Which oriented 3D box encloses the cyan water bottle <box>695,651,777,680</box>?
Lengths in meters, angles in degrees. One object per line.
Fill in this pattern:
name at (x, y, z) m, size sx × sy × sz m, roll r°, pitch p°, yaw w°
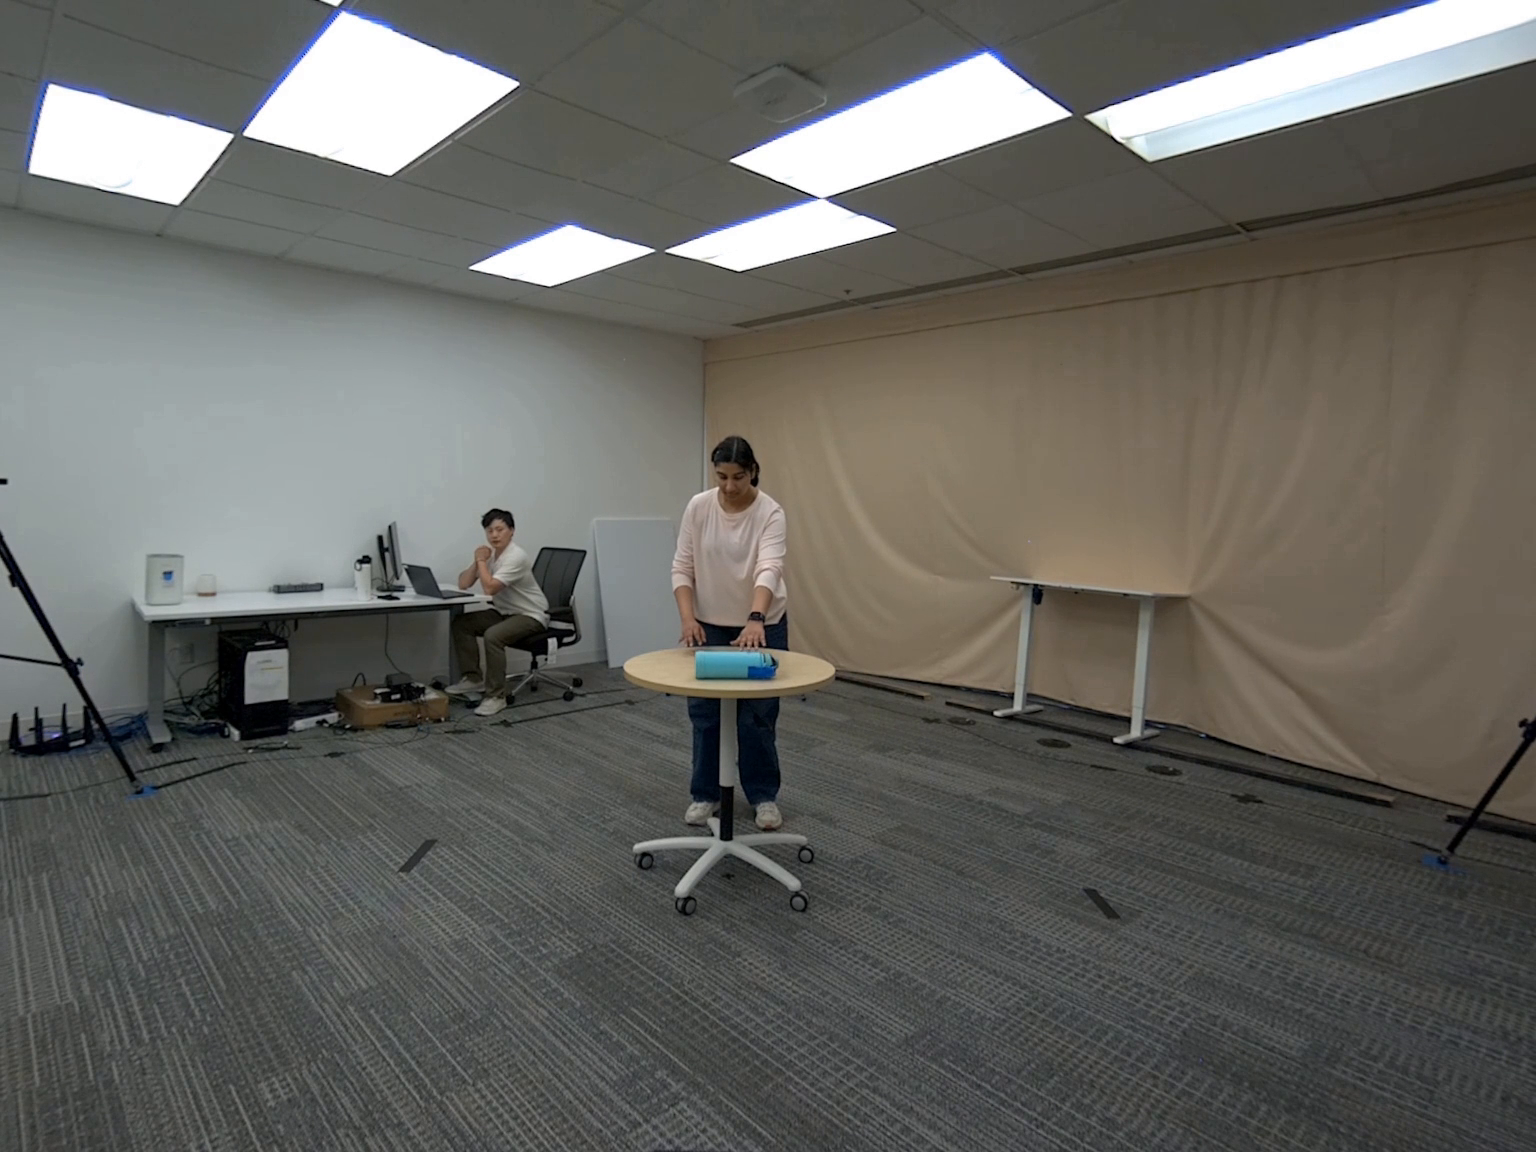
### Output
cyan water bottle at (-0.118, 0.305, 2.846) m, size 0.283 × 0.092 × 0.093 m, roll 1°, pitch 4°, yaw -2°
